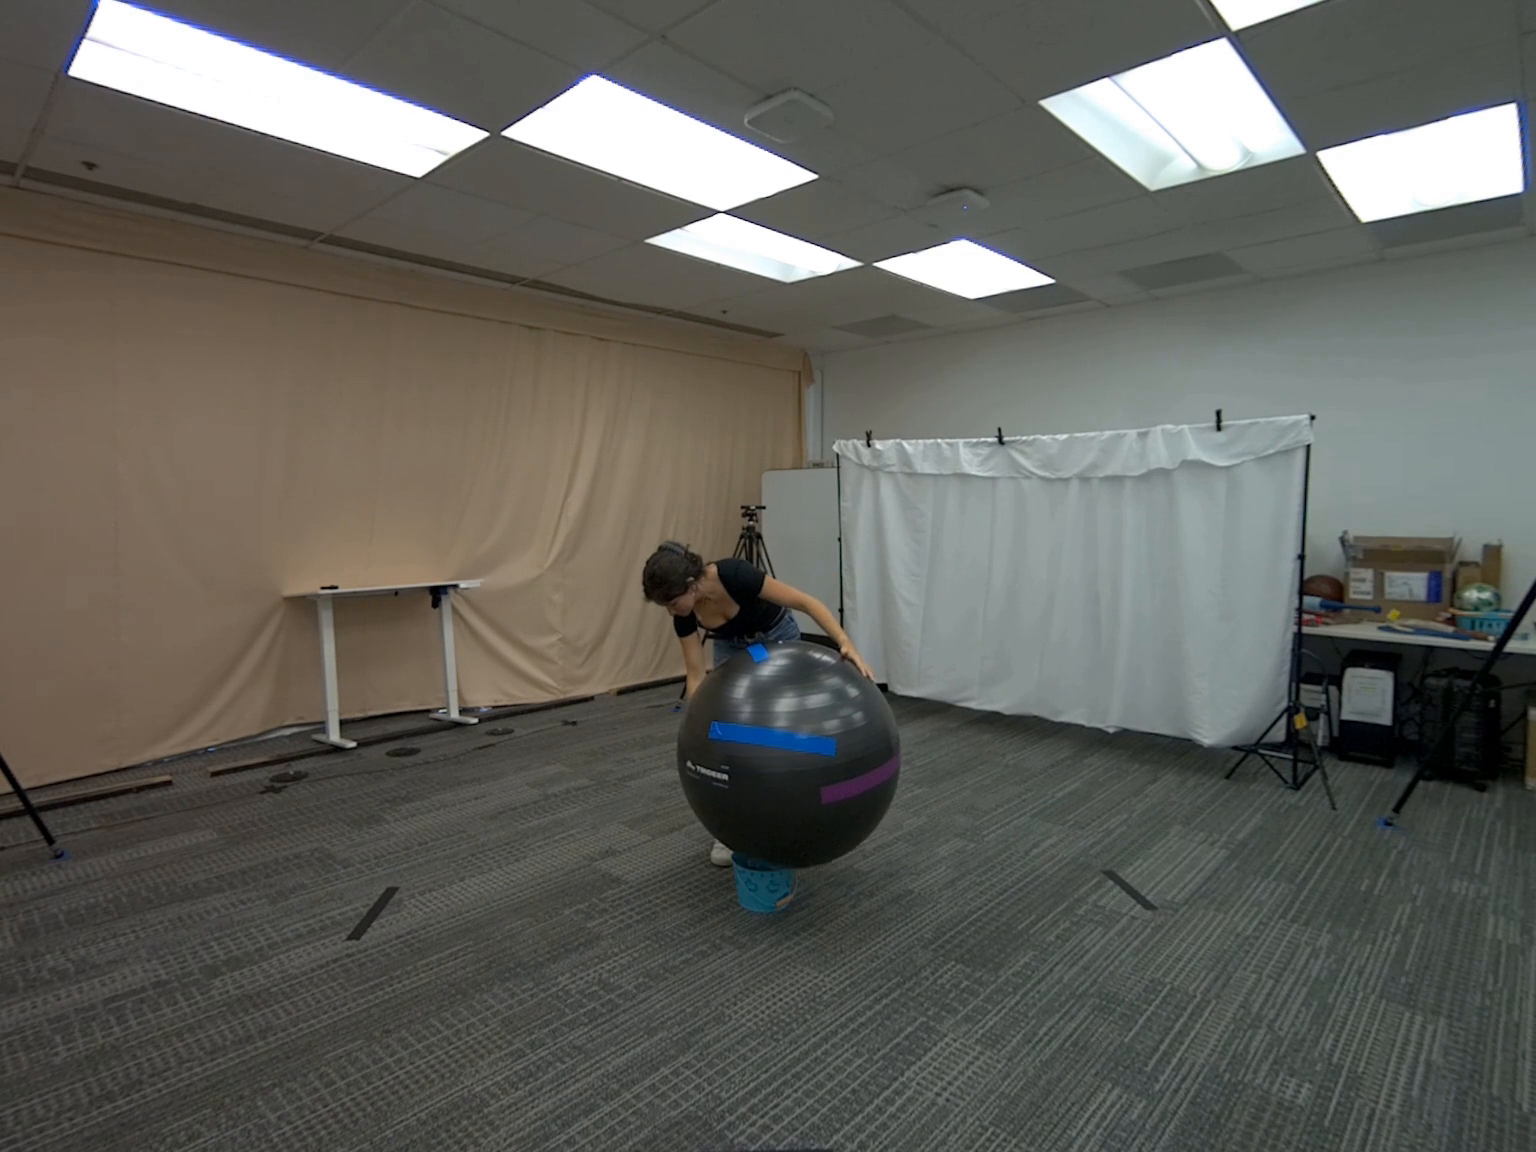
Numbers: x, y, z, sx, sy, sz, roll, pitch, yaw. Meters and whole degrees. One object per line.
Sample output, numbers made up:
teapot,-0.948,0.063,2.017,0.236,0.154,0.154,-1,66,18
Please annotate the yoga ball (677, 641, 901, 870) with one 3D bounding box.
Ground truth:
yoga ball,0.075,0.607,2.889,0.757,0.756,0.760,0,4,-2
